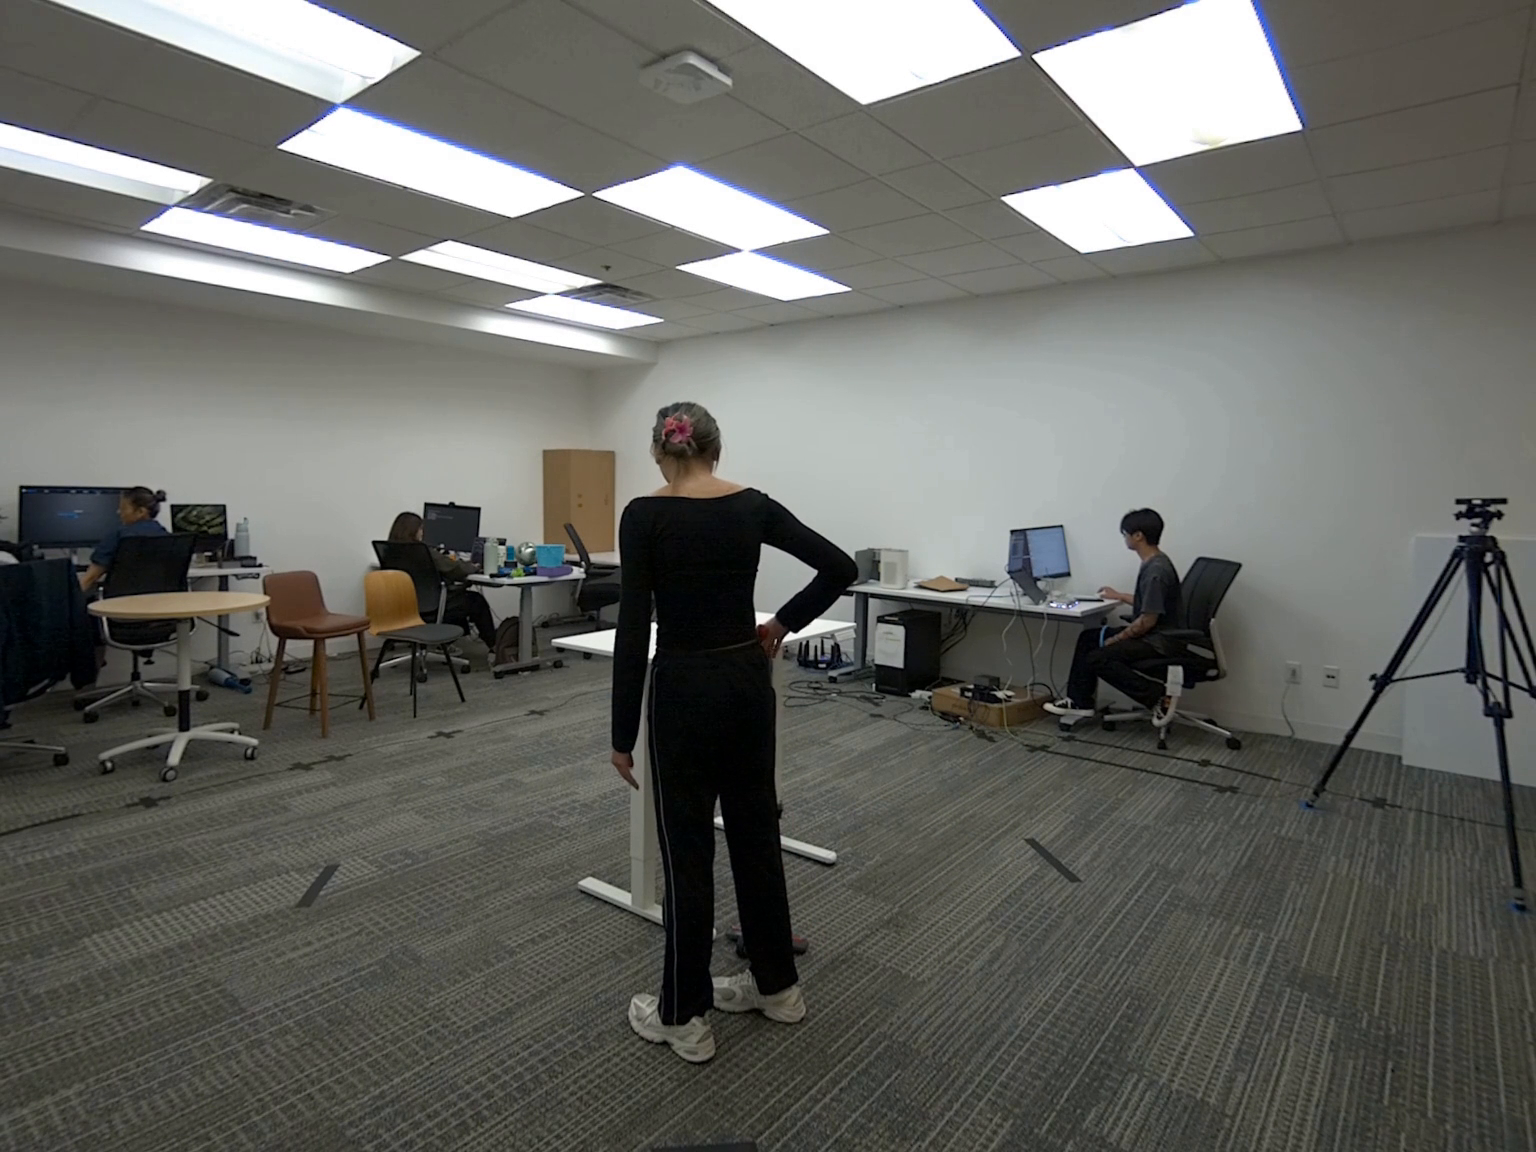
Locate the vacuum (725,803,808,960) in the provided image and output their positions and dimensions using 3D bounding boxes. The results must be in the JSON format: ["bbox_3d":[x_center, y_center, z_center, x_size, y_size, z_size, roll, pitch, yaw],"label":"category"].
[{"bbox_3d":[-0.032,0.633,2.402,0.258,1.030,0.143,6,20,19],"label":"vacuum"}]
